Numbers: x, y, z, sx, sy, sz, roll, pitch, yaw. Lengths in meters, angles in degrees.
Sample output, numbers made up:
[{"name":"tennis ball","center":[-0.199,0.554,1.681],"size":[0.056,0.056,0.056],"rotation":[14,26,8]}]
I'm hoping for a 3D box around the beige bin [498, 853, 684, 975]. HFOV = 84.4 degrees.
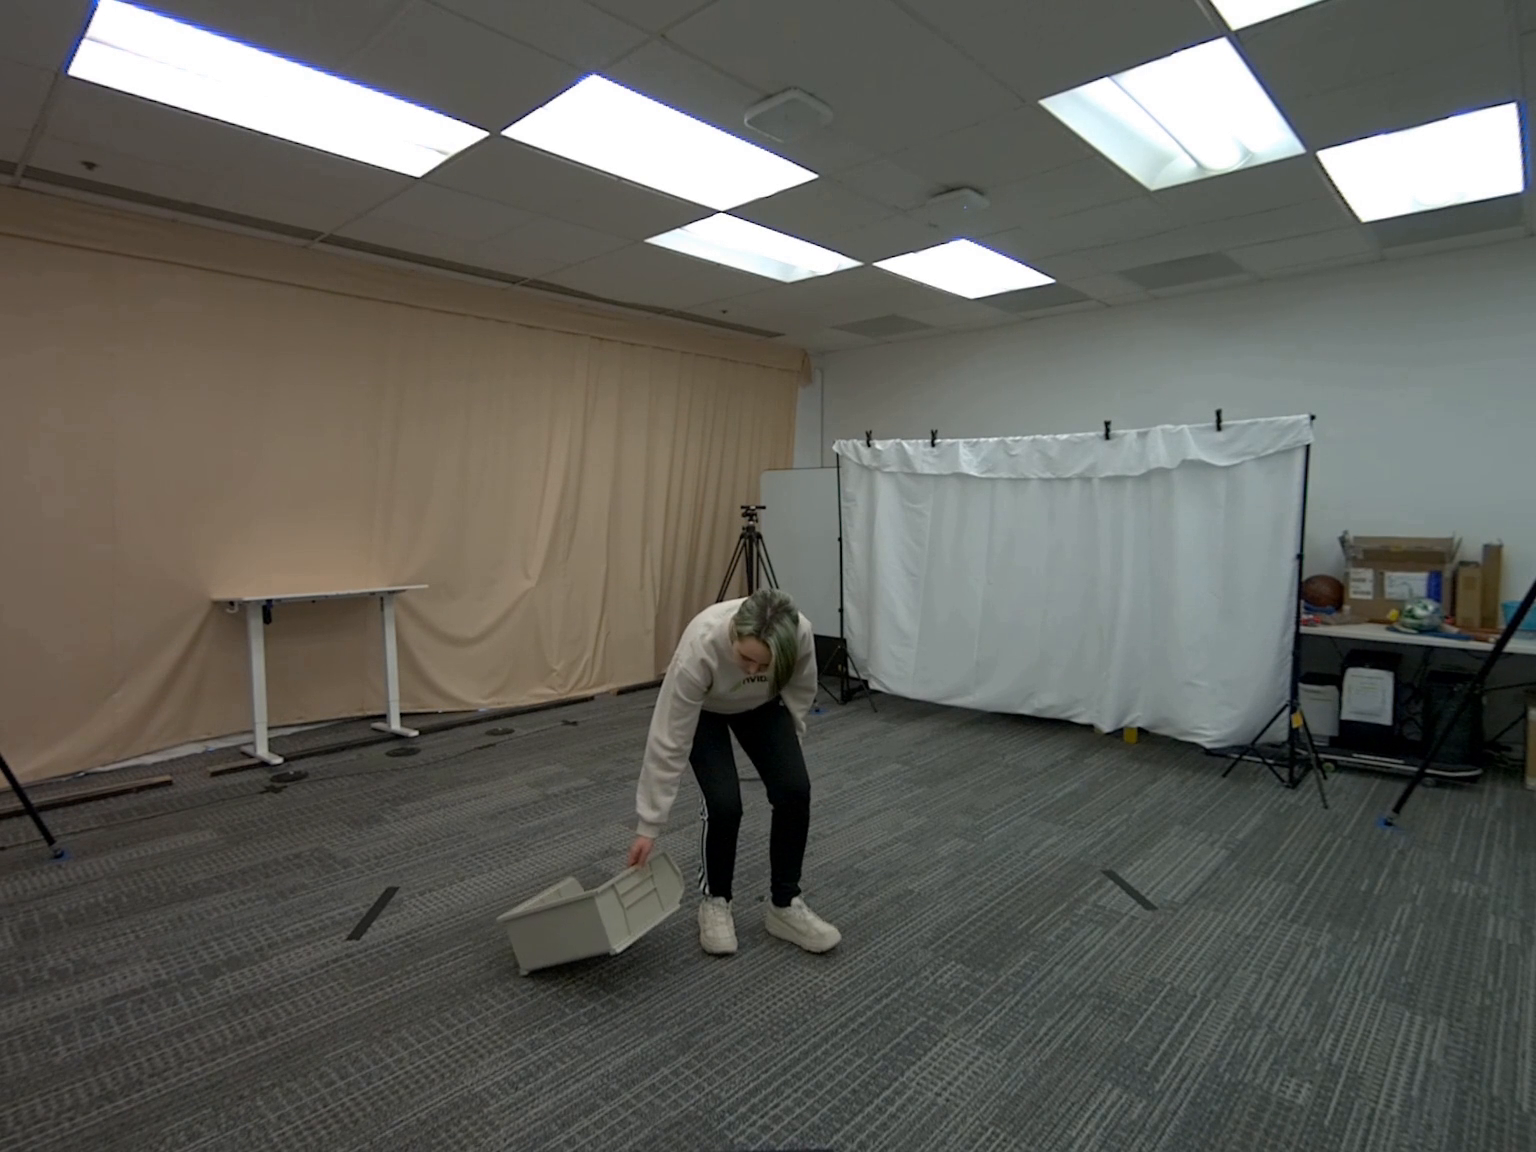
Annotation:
[{"name":"beige bin","center":[-0.522,1.016,2.558],"size":[0.430,0.190,0.368],"rotation":[-25,-7,28]}]
